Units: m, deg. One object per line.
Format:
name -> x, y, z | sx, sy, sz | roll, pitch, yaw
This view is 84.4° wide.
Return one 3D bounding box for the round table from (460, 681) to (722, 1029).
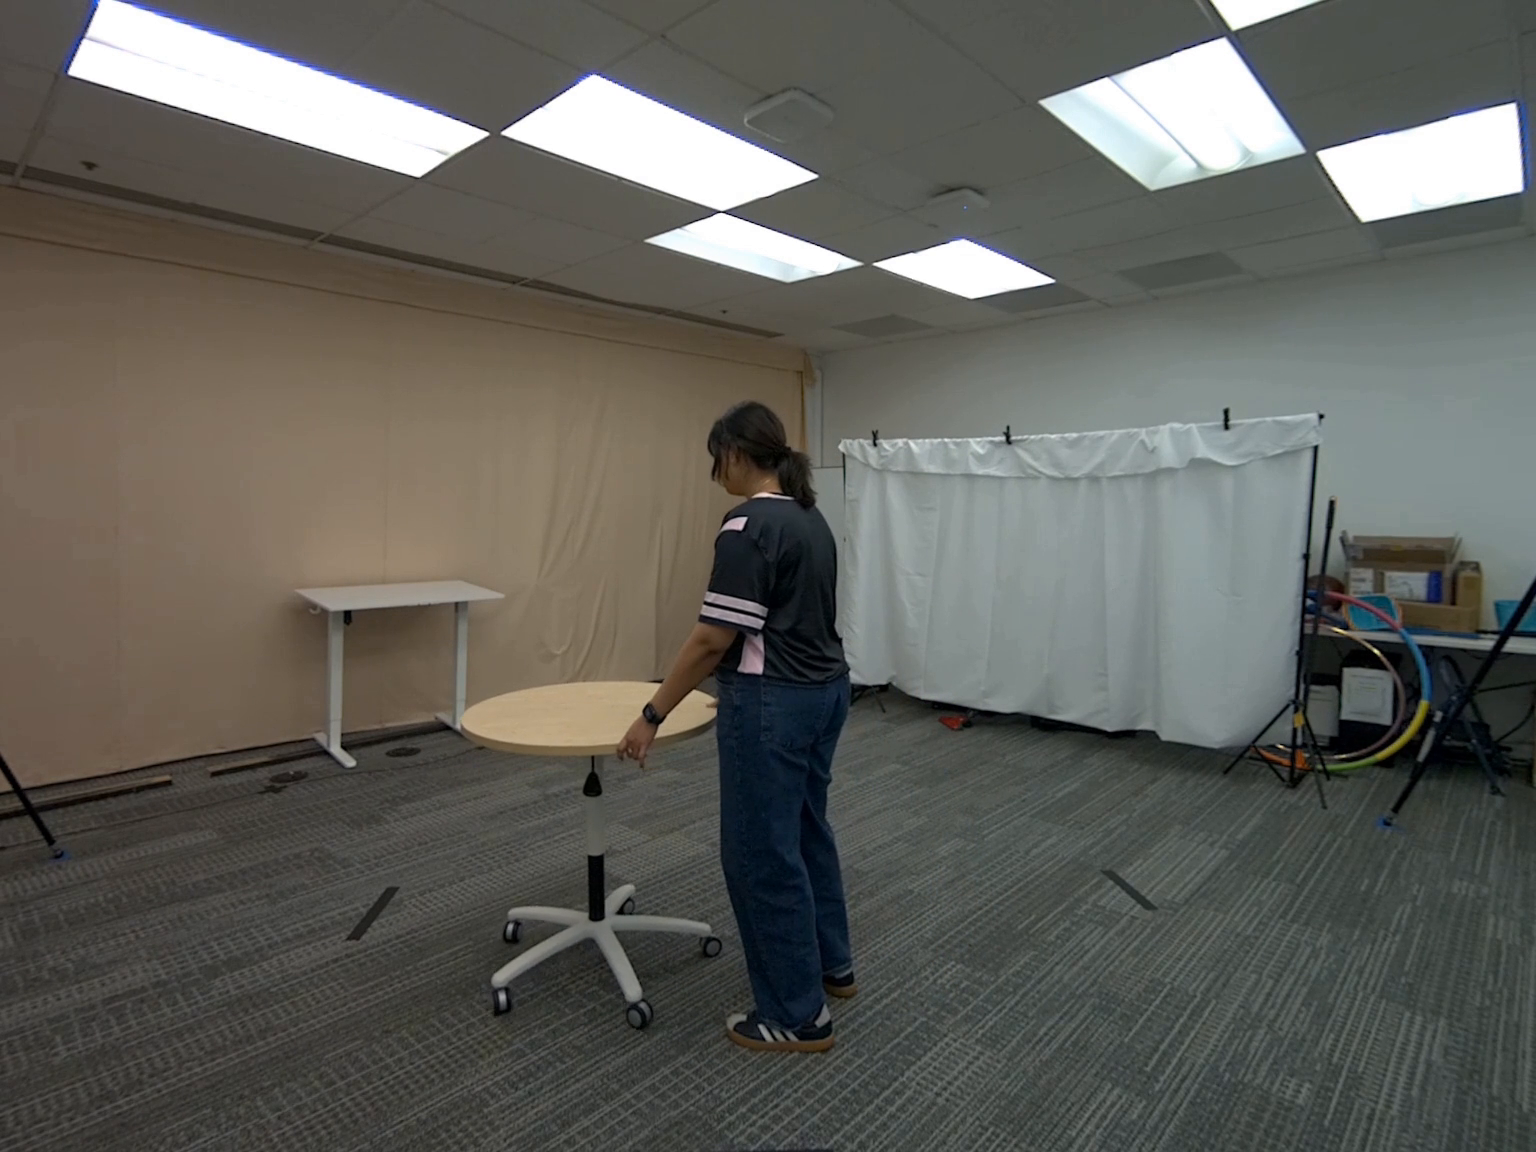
round table -> -0.521, 0.796, 2.553 | 0.763, 0.792, 0.767 | -1, 4, -2
